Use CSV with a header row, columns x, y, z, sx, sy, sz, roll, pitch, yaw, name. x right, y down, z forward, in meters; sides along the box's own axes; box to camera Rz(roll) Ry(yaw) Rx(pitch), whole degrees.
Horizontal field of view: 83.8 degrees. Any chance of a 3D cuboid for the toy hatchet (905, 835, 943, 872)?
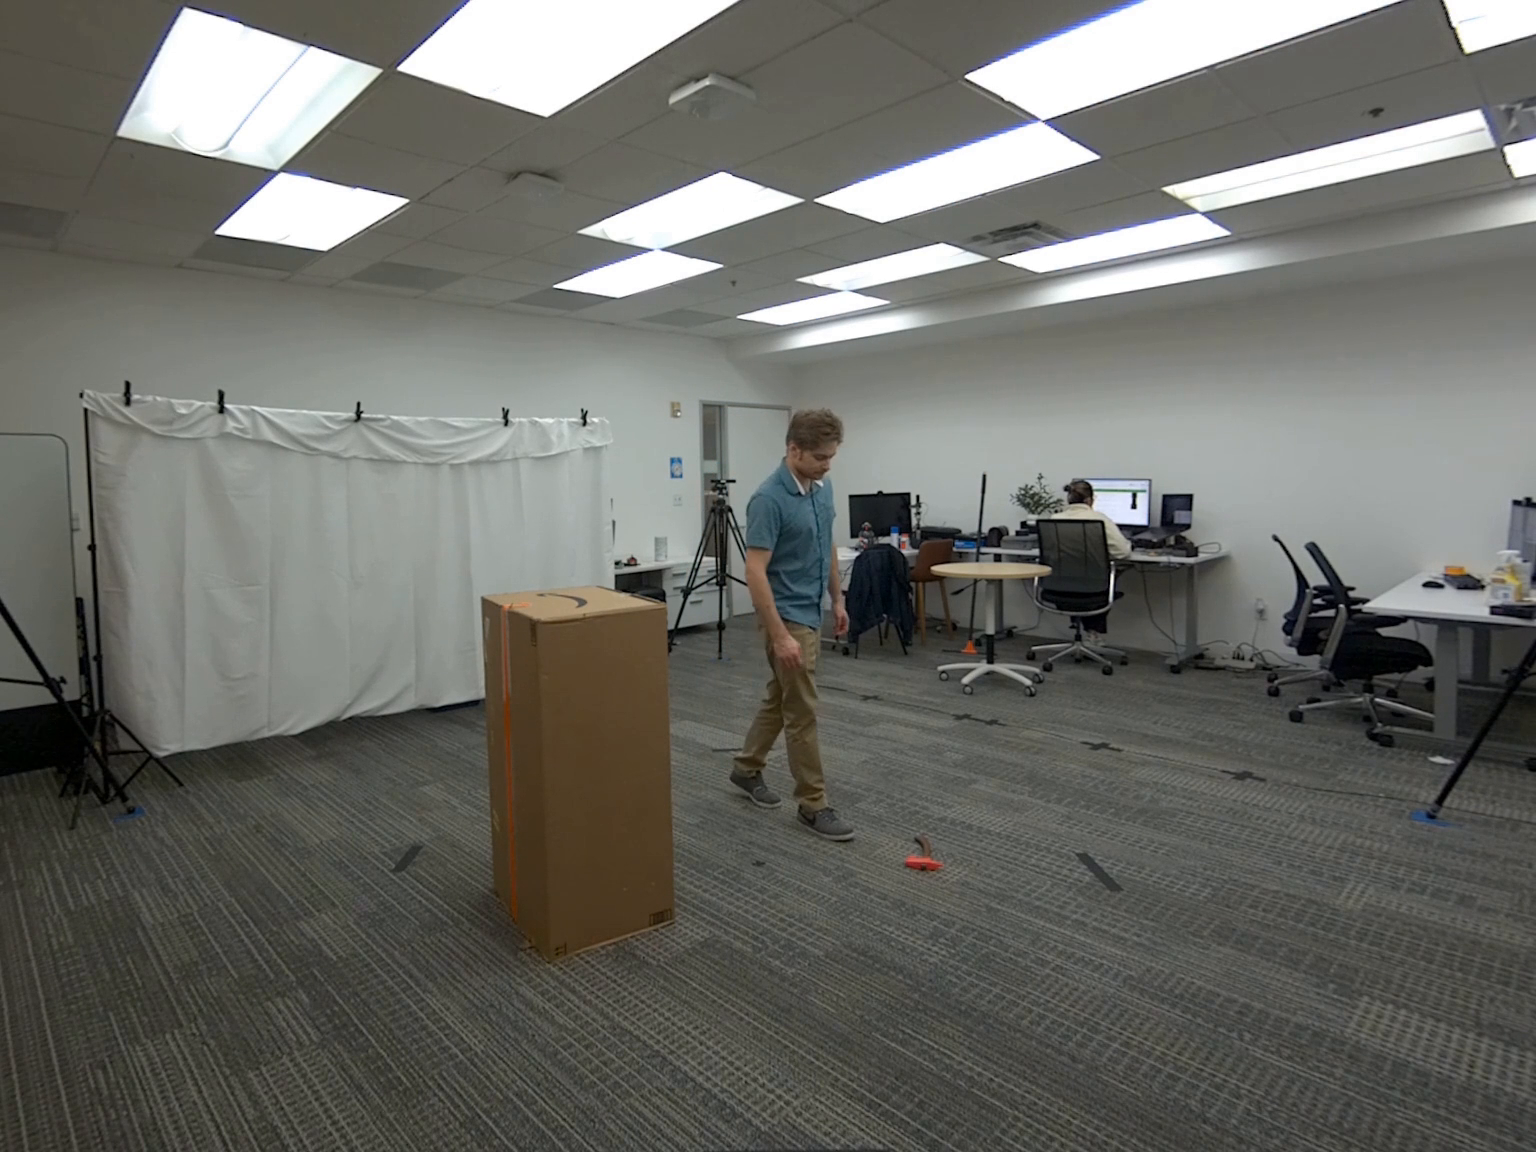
x,y,z,sx,sy,sz,roll,pitch,yaw,name
0.554,1.021,3.157,0.131,0.029,0.271,-6,4,-4,toy hatchet
